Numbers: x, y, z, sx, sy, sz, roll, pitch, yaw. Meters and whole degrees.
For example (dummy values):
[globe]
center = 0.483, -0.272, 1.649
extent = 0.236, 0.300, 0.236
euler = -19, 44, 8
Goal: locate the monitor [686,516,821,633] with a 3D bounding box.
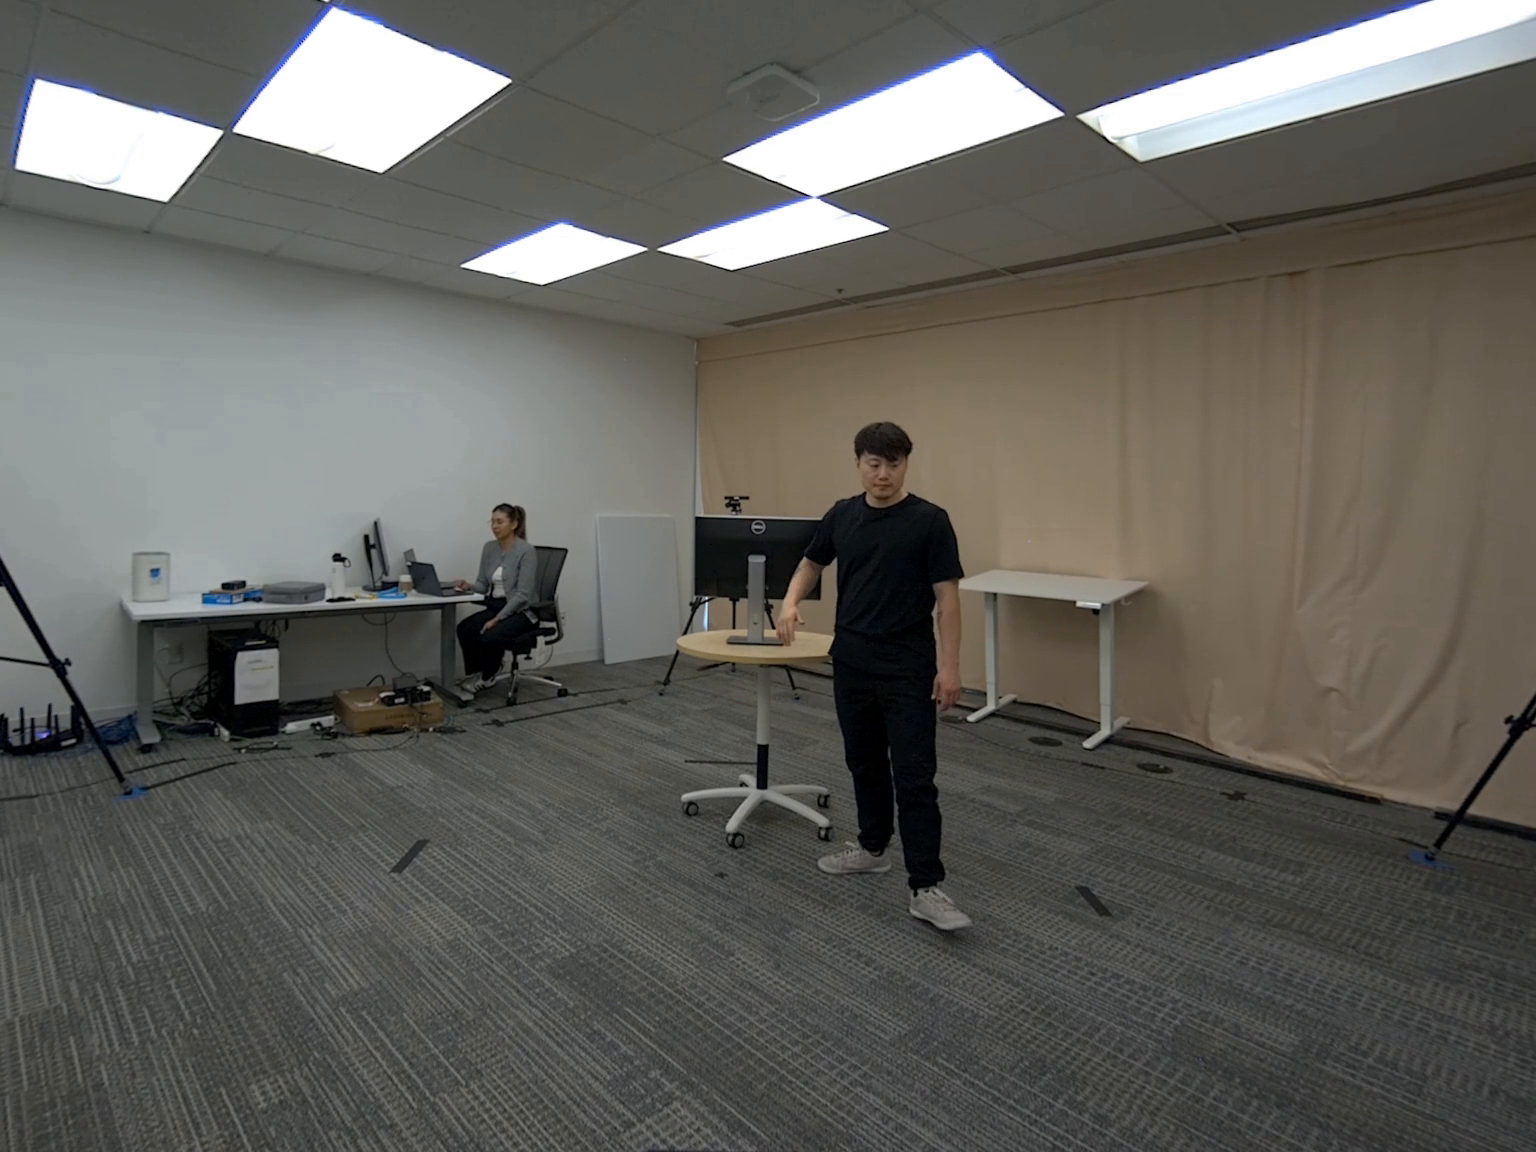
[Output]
[monitor]
center = -0.054, 0.020, 3.607
extent = 0.541, 0.522, 0.186
euler = 2, 1, 3
